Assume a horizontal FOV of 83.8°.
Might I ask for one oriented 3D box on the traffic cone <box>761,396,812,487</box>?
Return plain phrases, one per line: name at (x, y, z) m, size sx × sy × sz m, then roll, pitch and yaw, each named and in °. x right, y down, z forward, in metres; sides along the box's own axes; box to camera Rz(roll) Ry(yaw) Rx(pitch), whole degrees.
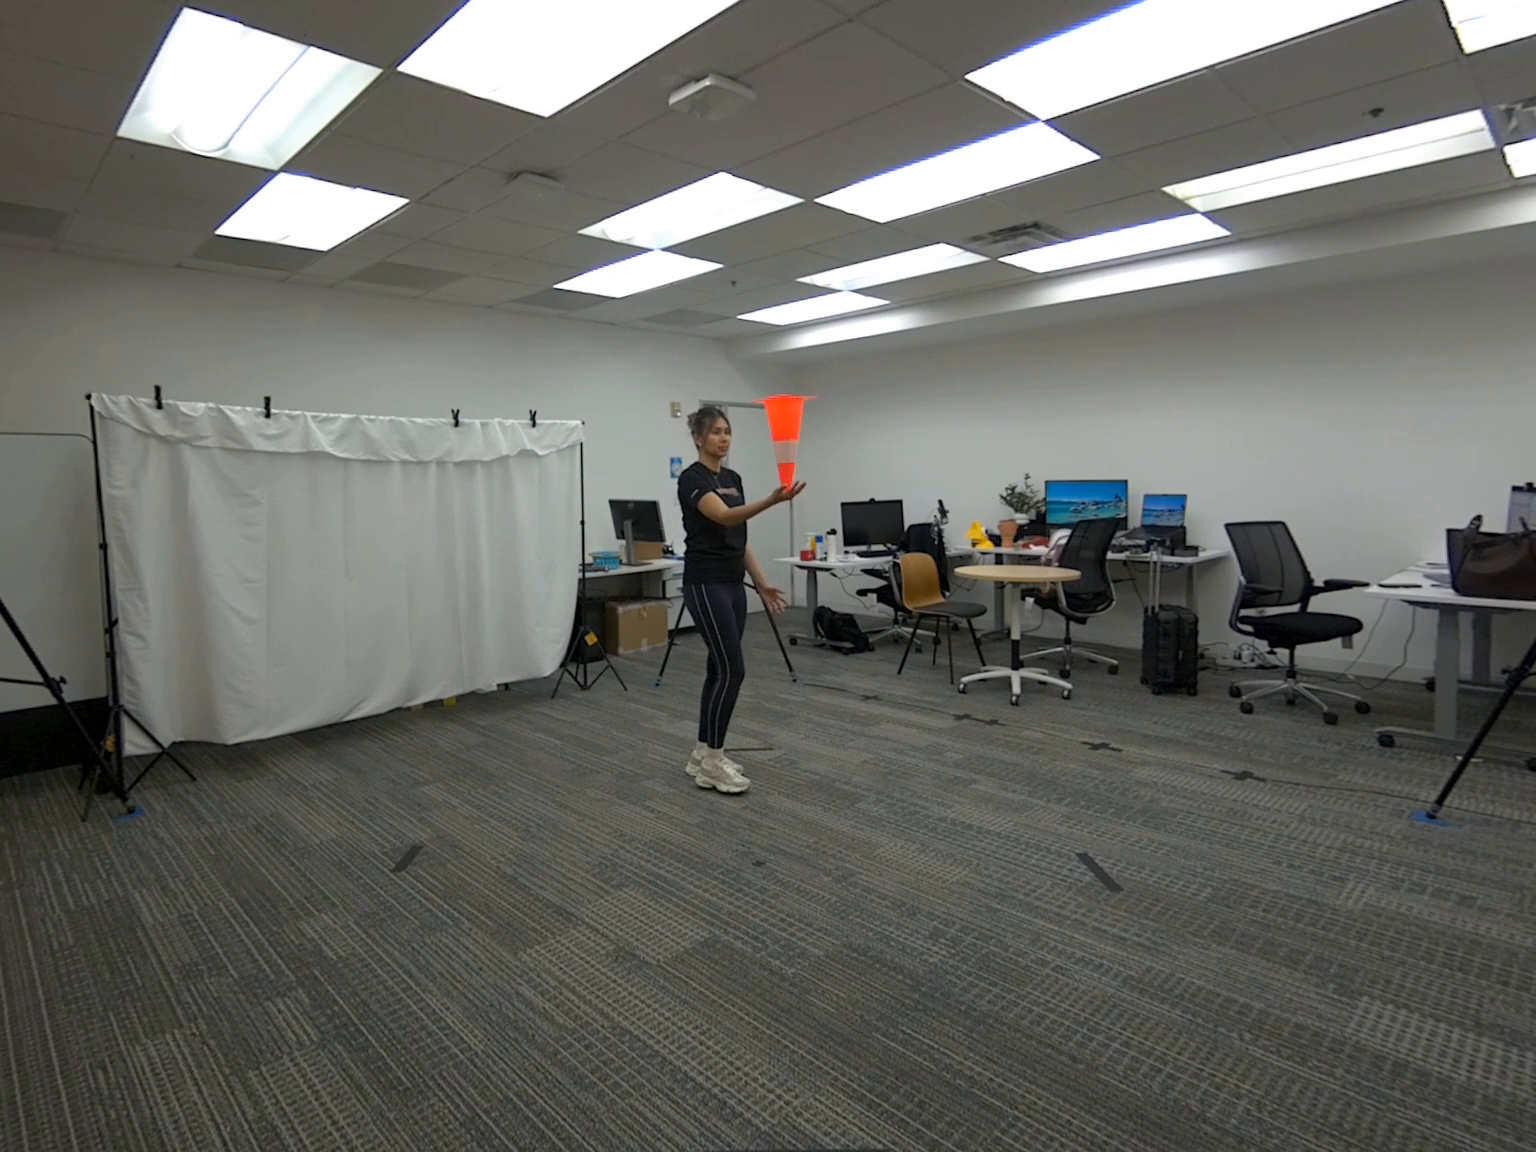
traffic cone at (0.081, -0.525, 3.437) m, size 0.211 × 0.382 × 0.198 m, roll 1°, pitch 7°, yaw 41°
